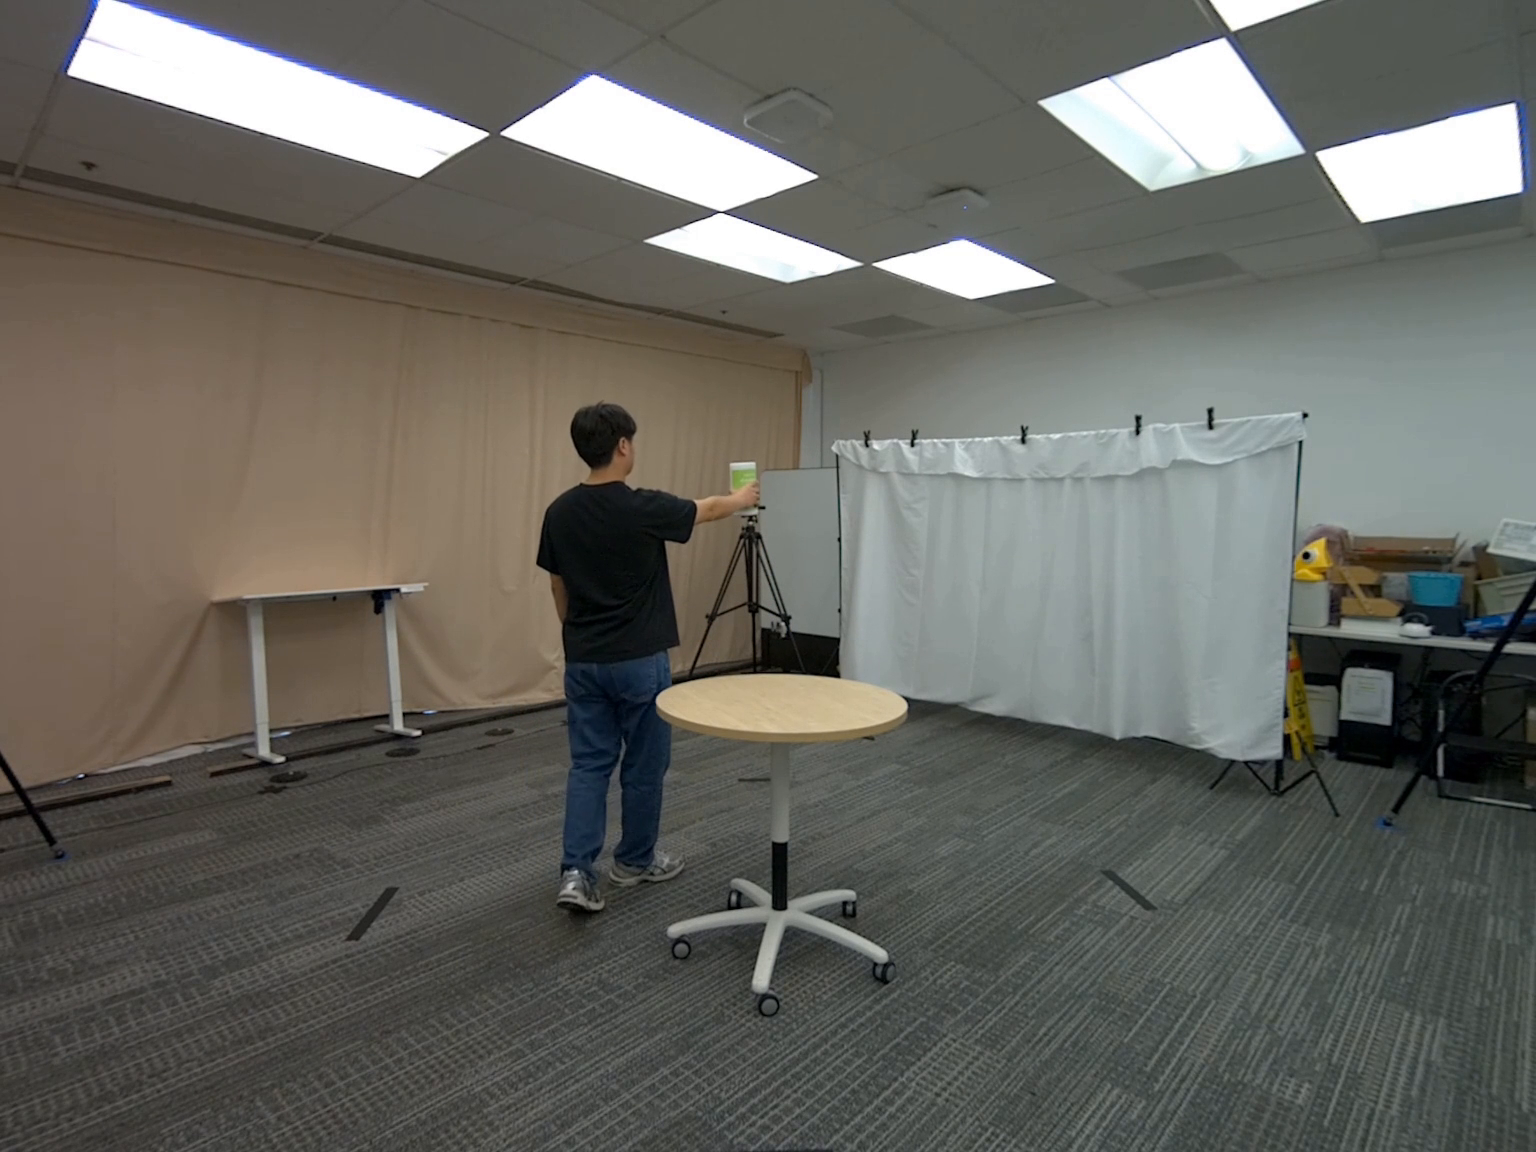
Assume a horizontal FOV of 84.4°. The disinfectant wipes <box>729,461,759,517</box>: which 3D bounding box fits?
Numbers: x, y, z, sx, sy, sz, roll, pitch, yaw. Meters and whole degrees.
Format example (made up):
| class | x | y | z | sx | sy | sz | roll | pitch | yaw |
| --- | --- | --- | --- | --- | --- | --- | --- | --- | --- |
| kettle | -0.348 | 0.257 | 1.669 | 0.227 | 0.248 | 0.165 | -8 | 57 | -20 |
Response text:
| class | x | y | z | sx | sy | sz | roll | pitch | yaw |
| --- | --- | --- | --- | --- | --- | --- | --- | --- | --- |
| disinfectant wipes | -0.097 | -0.356 | 3.452 | 0.118 | 0.216 | 0.118 | -2 | 6 | -2 |
